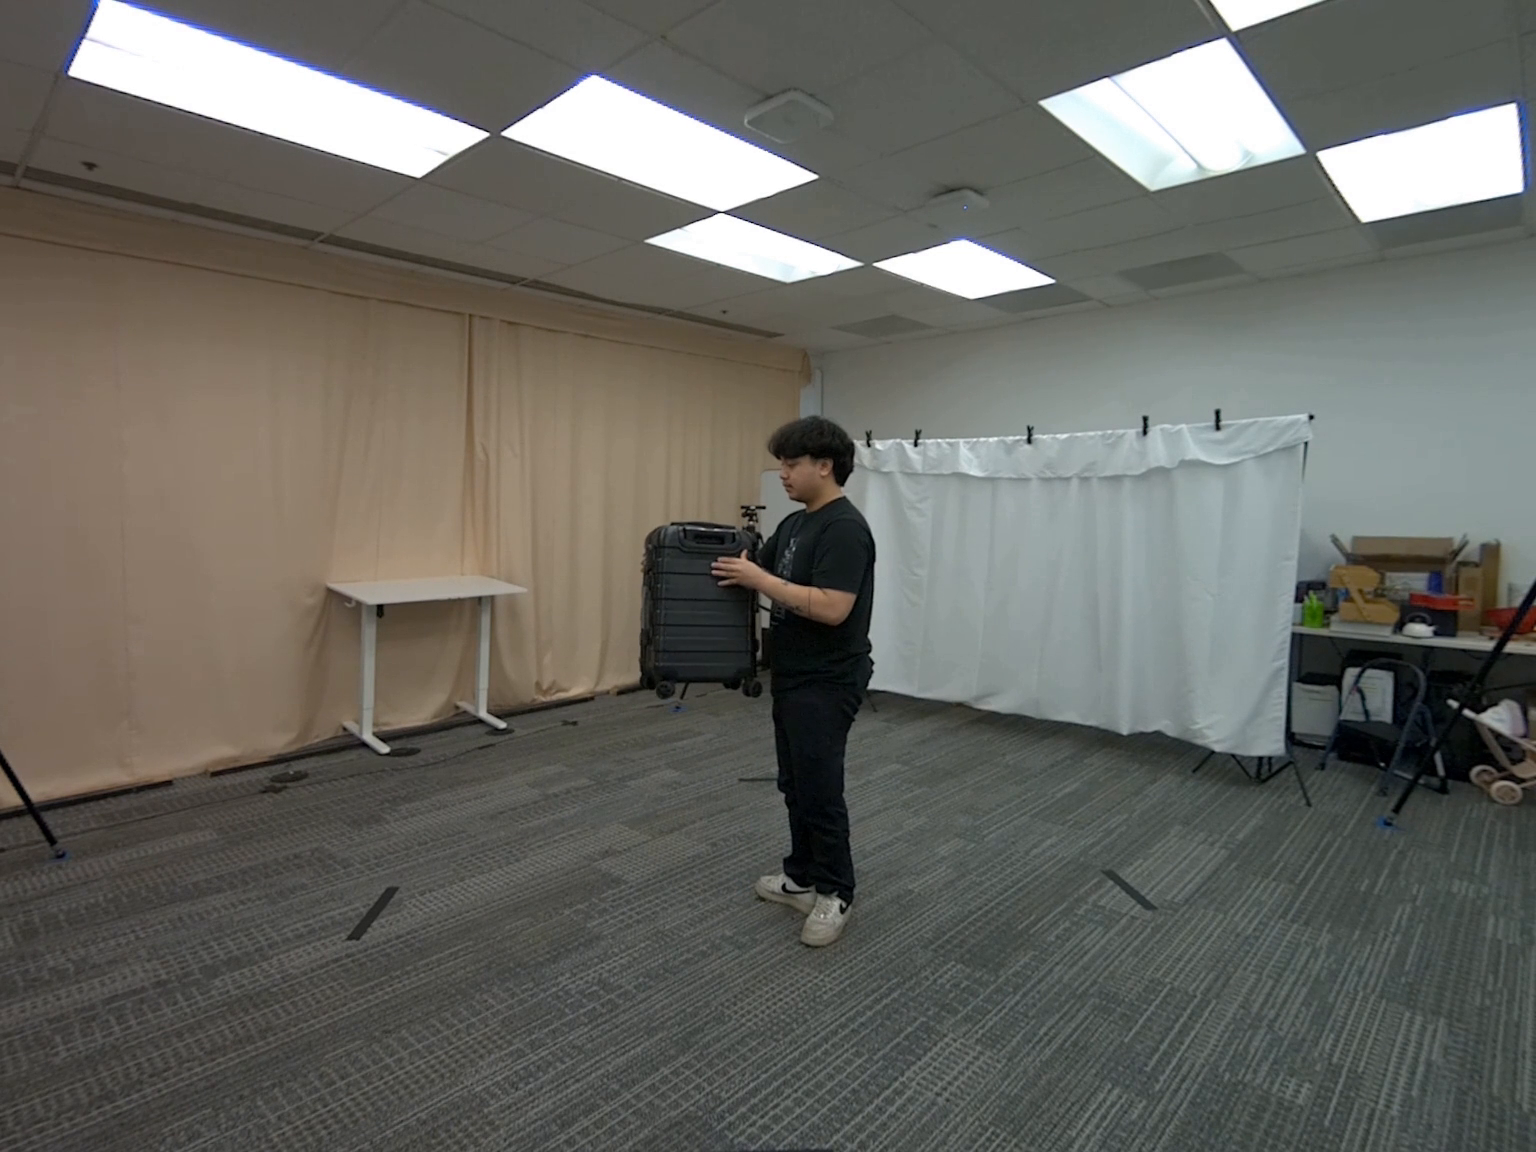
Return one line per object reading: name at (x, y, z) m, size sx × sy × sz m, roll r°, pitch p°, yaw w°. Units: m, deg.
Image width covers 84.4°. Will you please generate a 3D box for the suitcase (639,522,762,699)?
suitcase at (-0.227, 0.105, 2.739) m, size 0.368 × 0.550 × 0.253 m, roll 2°, pitch -3°, yaw -19°
